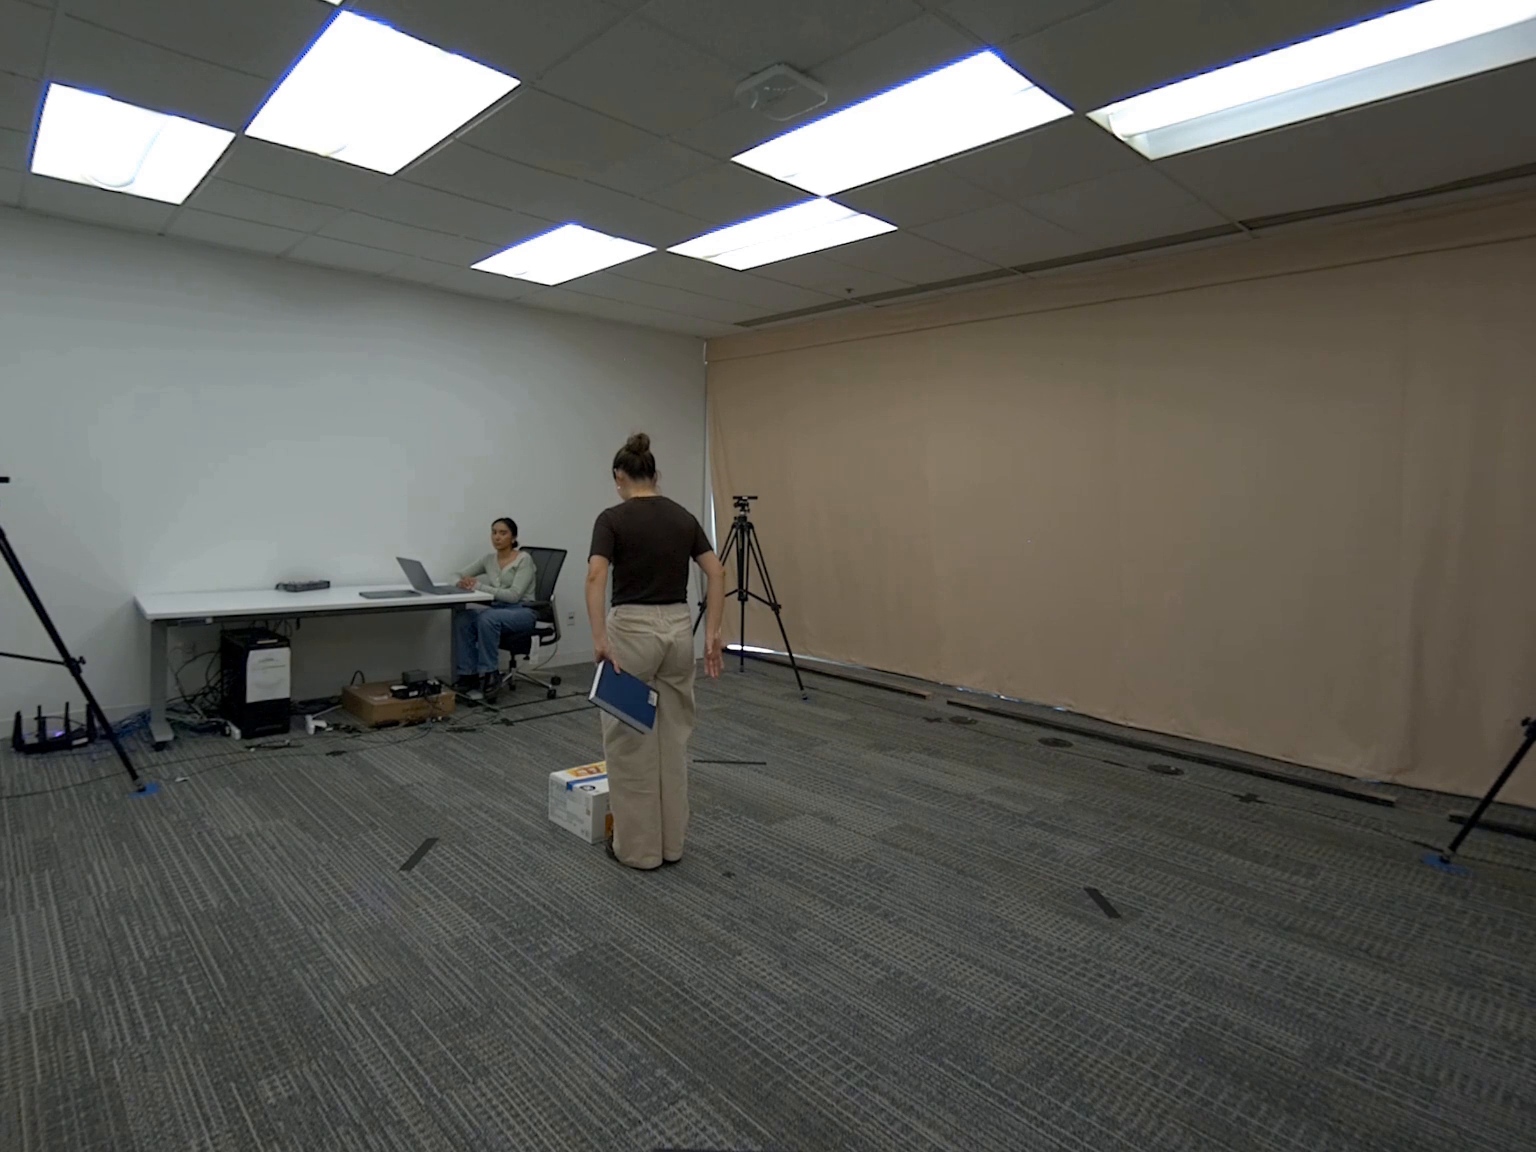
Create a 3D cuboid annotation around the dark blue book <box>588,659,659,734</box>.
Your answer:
[{"bbox_3d":[-0.499,0.409,2.874,0.239,0.166,0.045,36,-54,-24],"label":"dark blue book"}]
